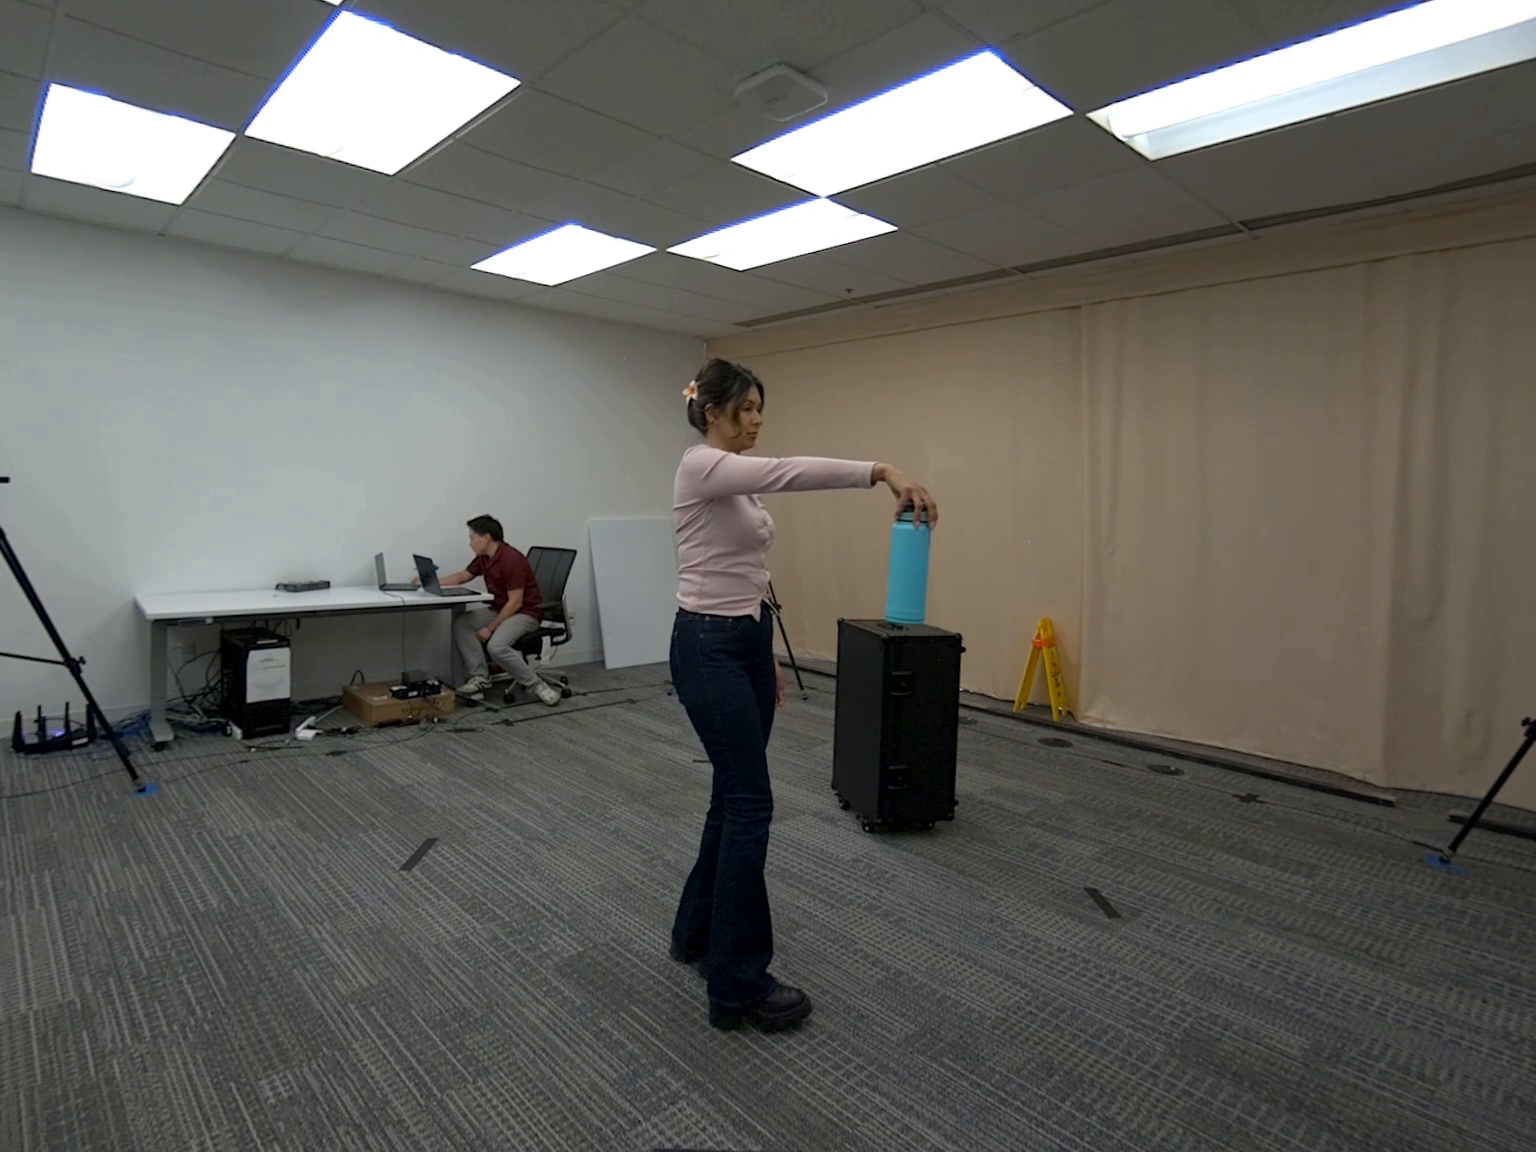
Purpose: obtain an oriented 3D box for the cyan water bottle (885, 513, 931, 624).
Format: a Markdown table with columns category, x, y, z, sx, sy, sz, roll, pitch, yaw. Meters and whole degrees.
| category | x | y | z | sx | sy | sz | roll | pitch | yaw |
| --- | --- | --- | --- | --- | --- | --- | --- | --- | --- |
| cyan water bottle | 0.322 | -0.036 | 1.921 | 0.092 | 0.283 | 0.092 | 1 | 1 | -1 |
